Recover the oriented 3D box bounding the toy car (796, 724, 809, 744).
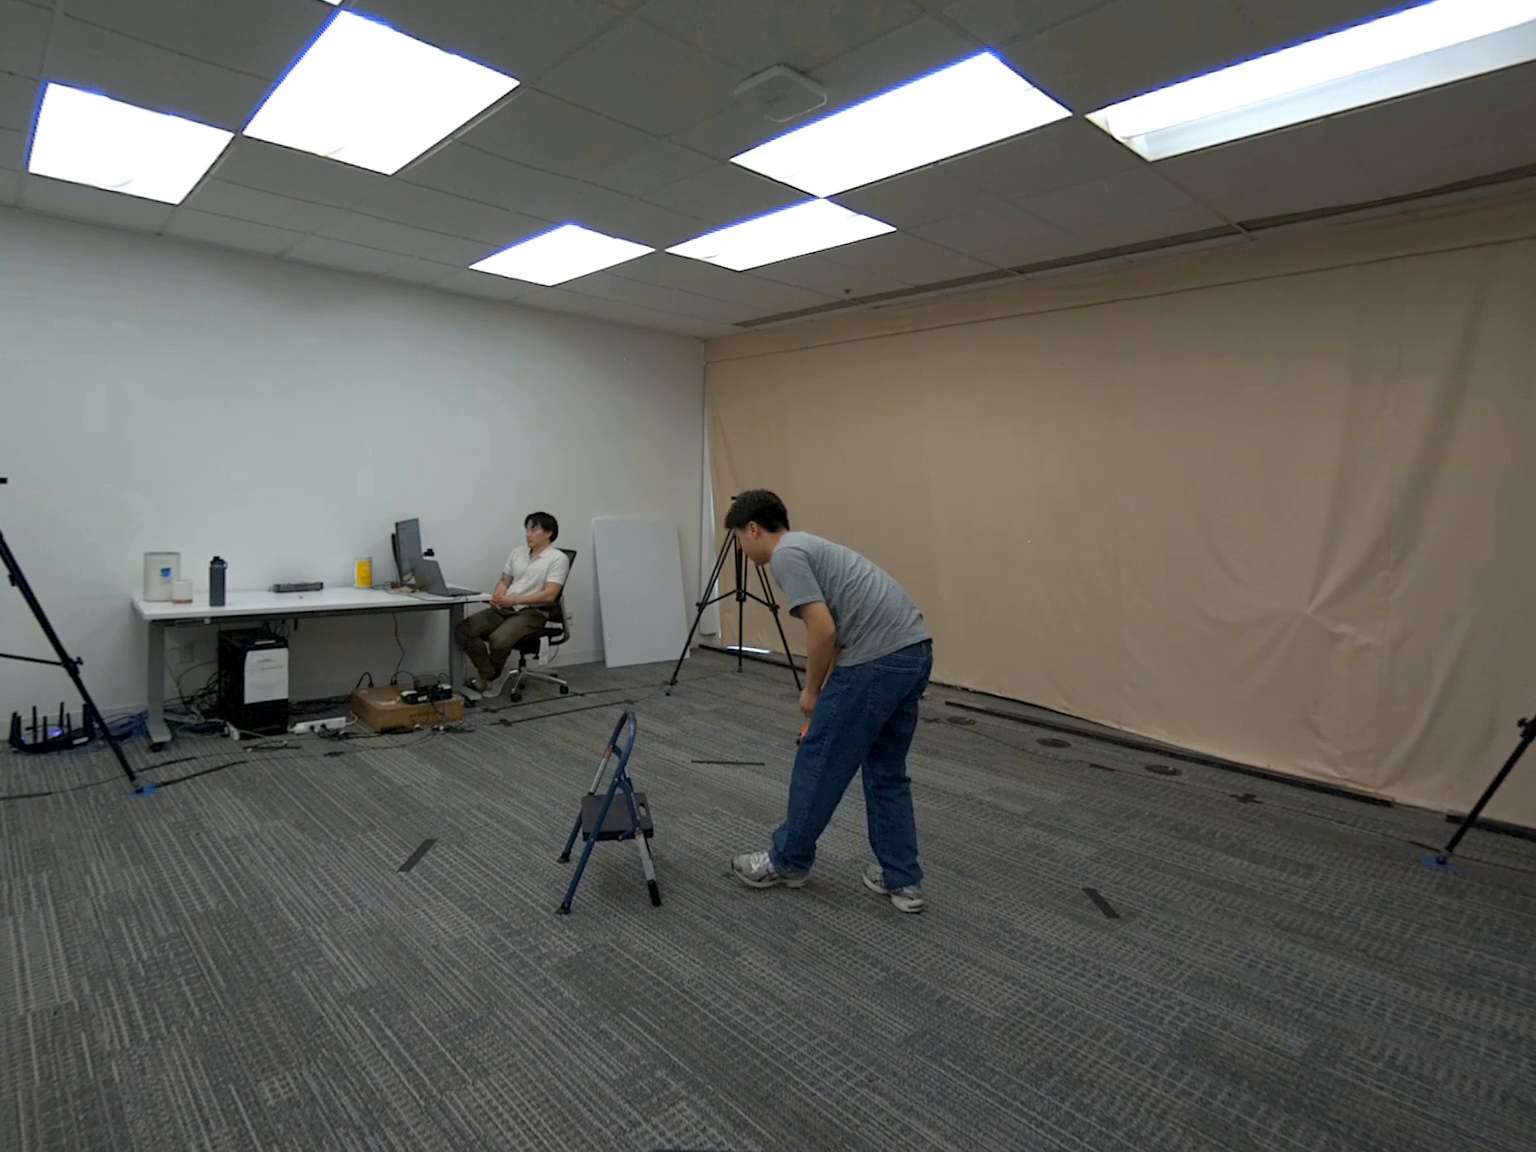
[{"bbox_3d":[0.171,0.667,3.231,0.129,0.082,0.258,22,24,-7],"label":"toy car"}]
